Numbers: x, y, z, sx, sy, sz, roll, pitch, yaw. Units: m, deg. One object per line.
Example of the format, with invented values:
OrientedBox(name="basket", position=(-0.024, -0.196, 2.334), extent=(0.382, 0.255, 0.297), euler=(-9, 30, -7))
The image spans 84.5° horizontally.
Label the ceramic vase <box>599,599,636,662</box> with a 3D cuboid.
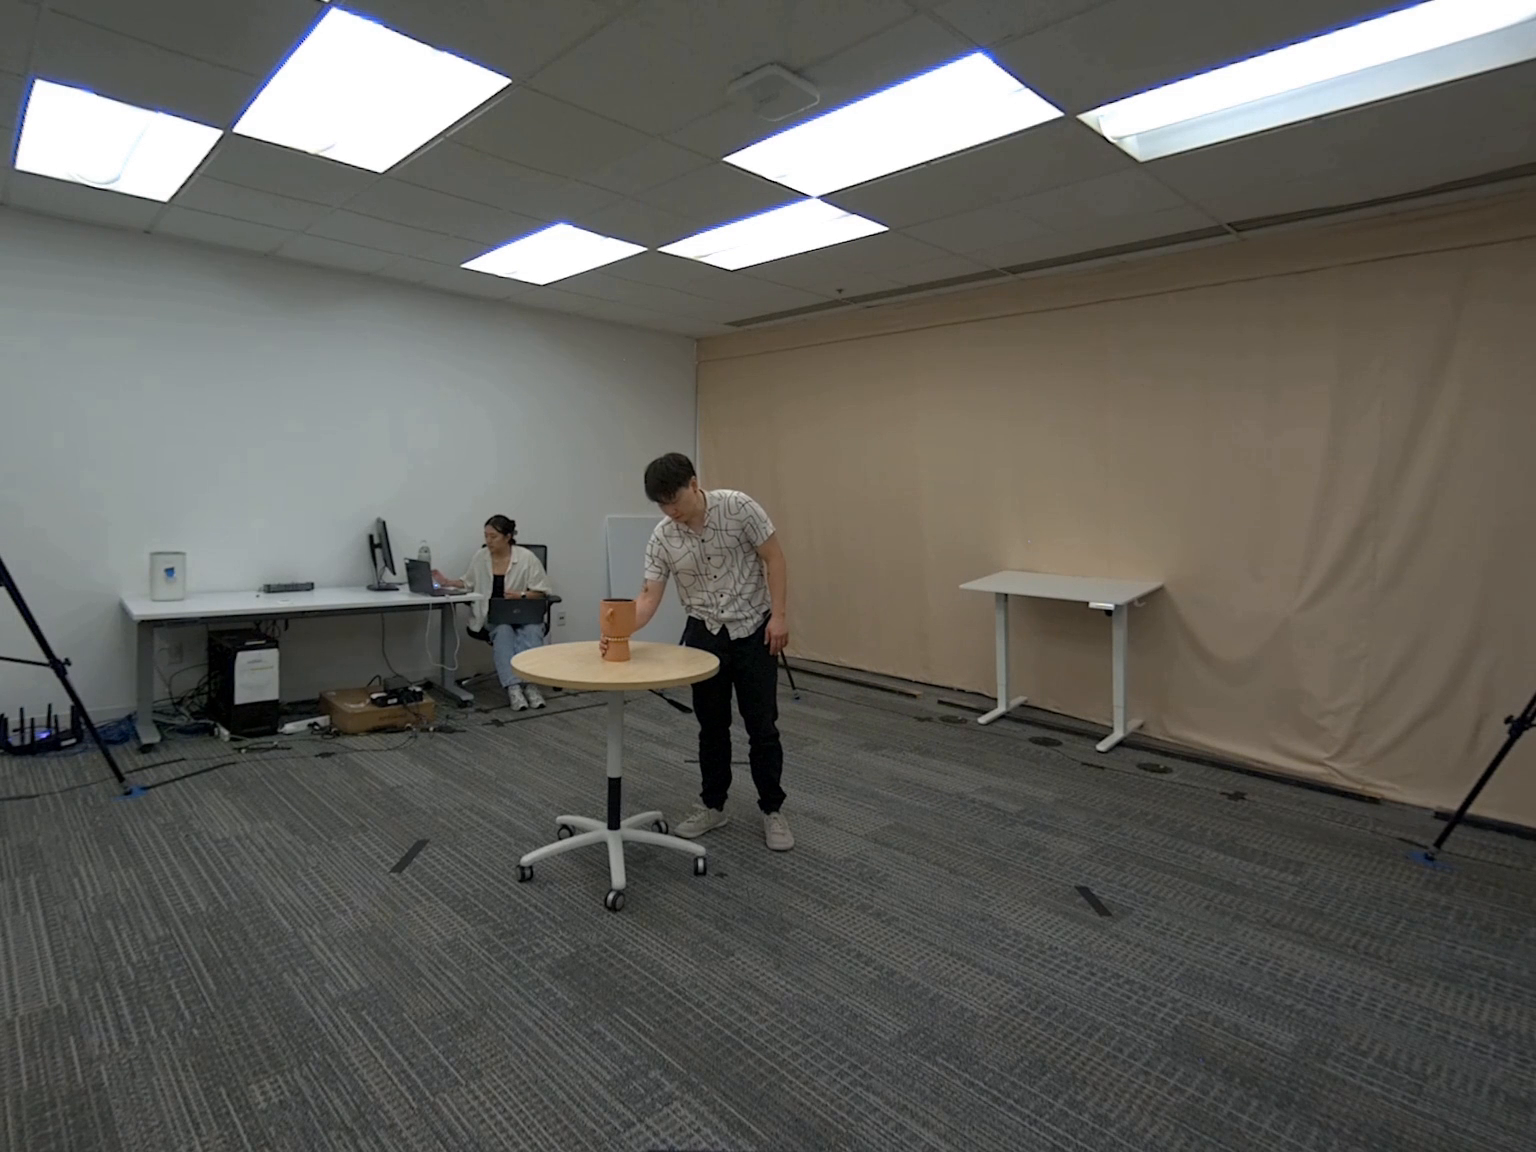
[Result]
OrientedBox(name="ceramic vase", position=(-0.575, 0.201, 3.124), extent=(0.155, 0.219, 0.138), euler=(-2, 5, -40))
